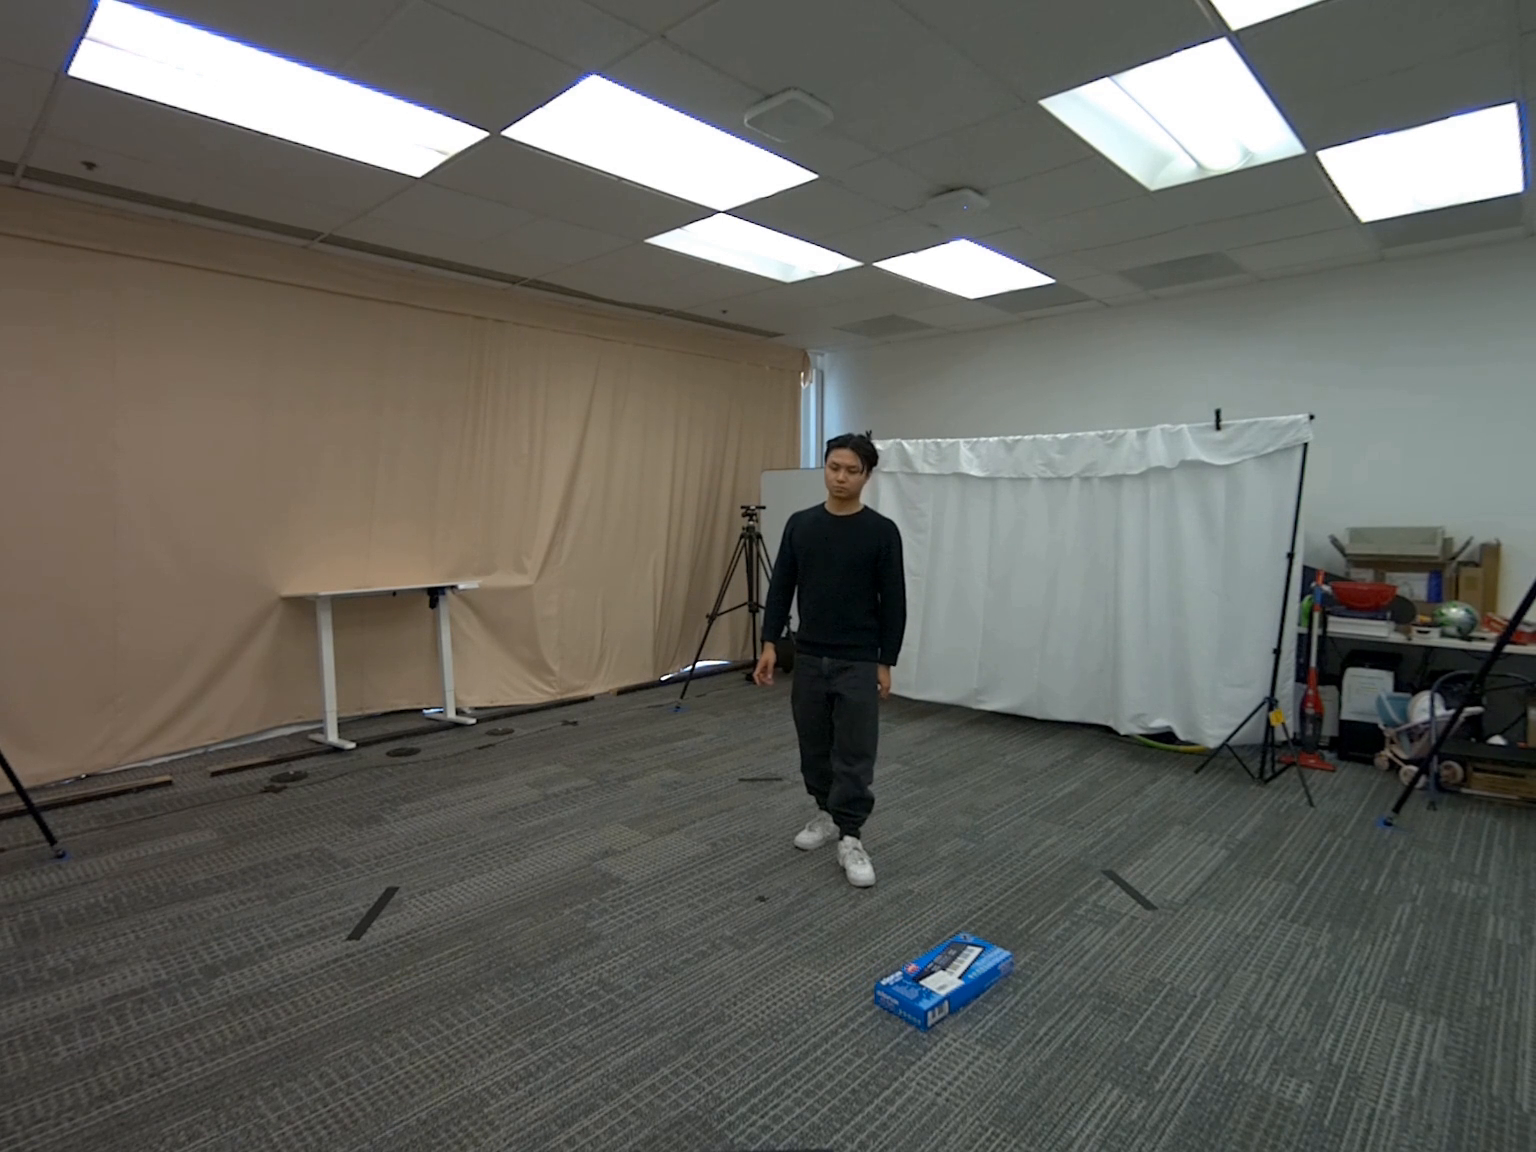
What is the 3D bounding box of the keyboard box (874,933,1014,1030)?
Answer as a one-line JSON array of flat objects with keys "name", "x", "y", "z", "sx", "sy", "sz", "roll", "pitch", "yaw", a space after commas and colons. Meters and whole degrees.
[{"name": "keyboard box", "x": 0.524, "y": 1.158, "z": 2.429, "sx": 0.423, "sy": 0.059, "sz": 0.182, "roll": -5, "pitch": 7, "yaw": -42}]
